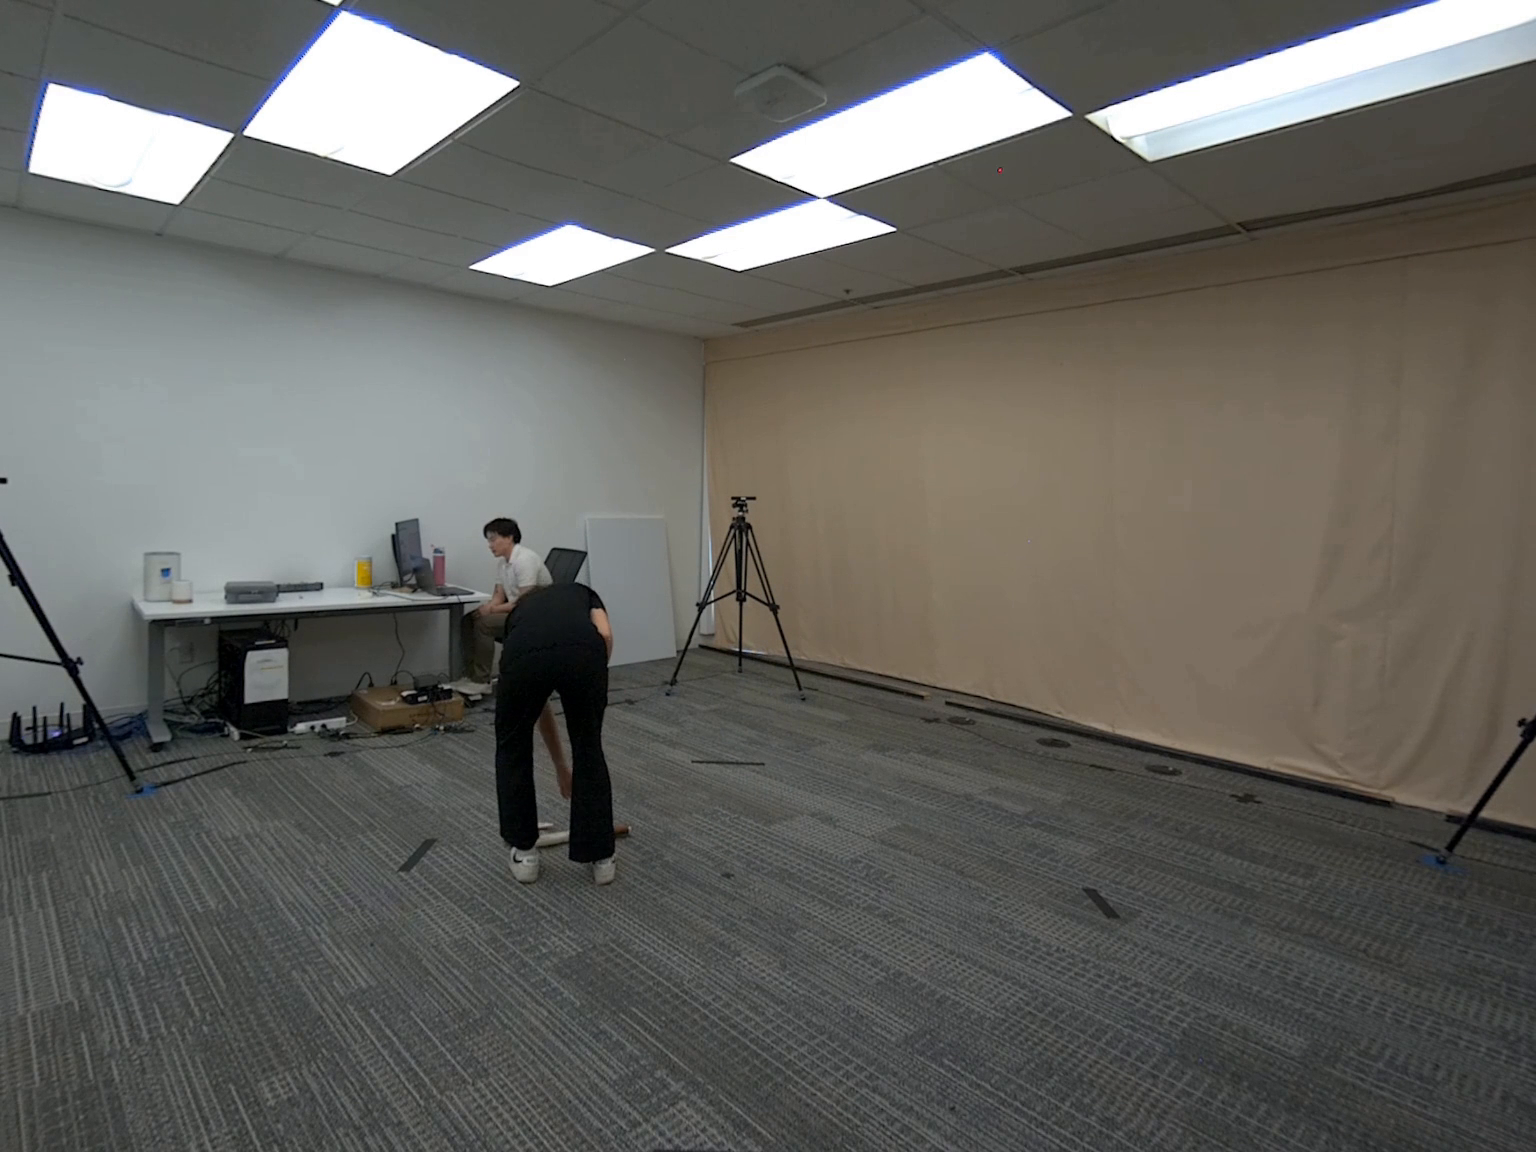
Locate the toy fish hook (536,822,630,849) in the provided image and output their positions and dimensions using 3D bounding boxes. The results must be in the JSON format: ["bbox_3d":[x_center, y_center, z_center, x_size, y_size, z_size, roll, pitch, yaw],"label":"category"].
[{"bbox_3d":[-0.819,1.042,3.430,0.500,0.048,0.228,0,7,-15],"label":"toy fish hook"}]
